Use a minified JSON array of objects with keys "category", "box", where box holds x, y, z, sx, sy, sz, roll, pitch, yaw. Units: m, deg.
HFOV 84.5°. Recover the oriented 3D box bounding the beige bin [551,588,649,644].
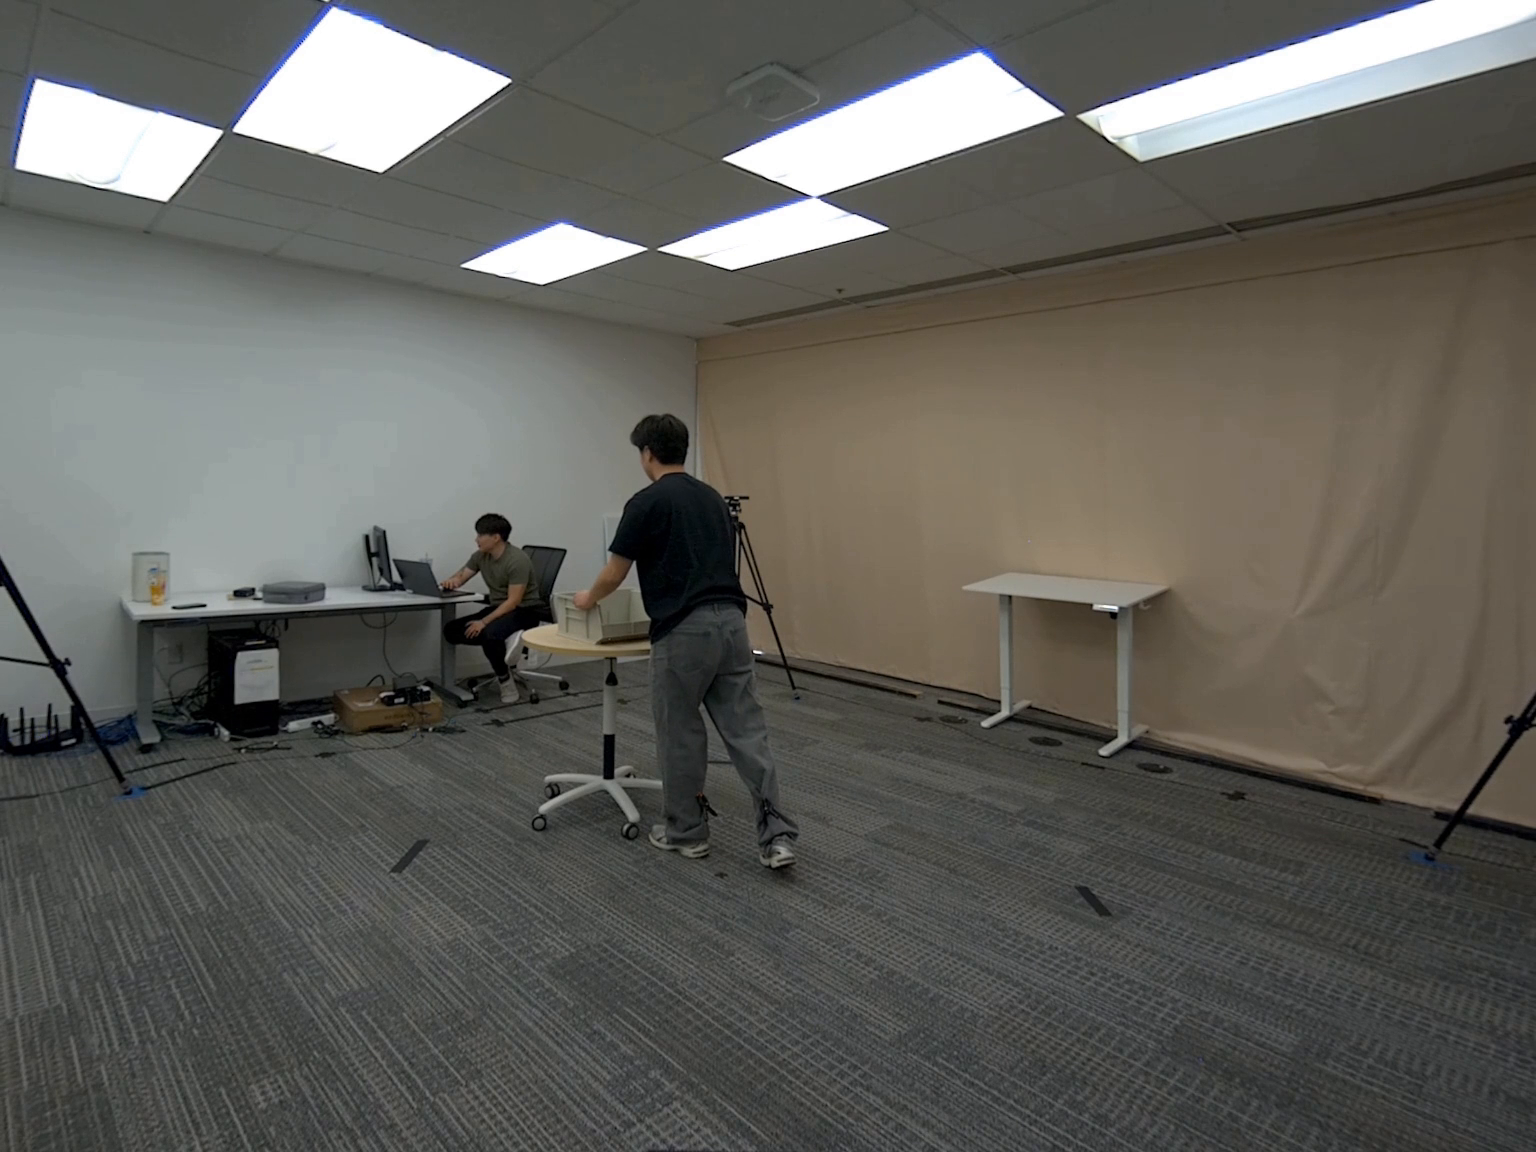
[{"category":"beige bin","box":[-0.657,0.172,3.658,0.413,0.188,0.387,-4,7,-43]}]
